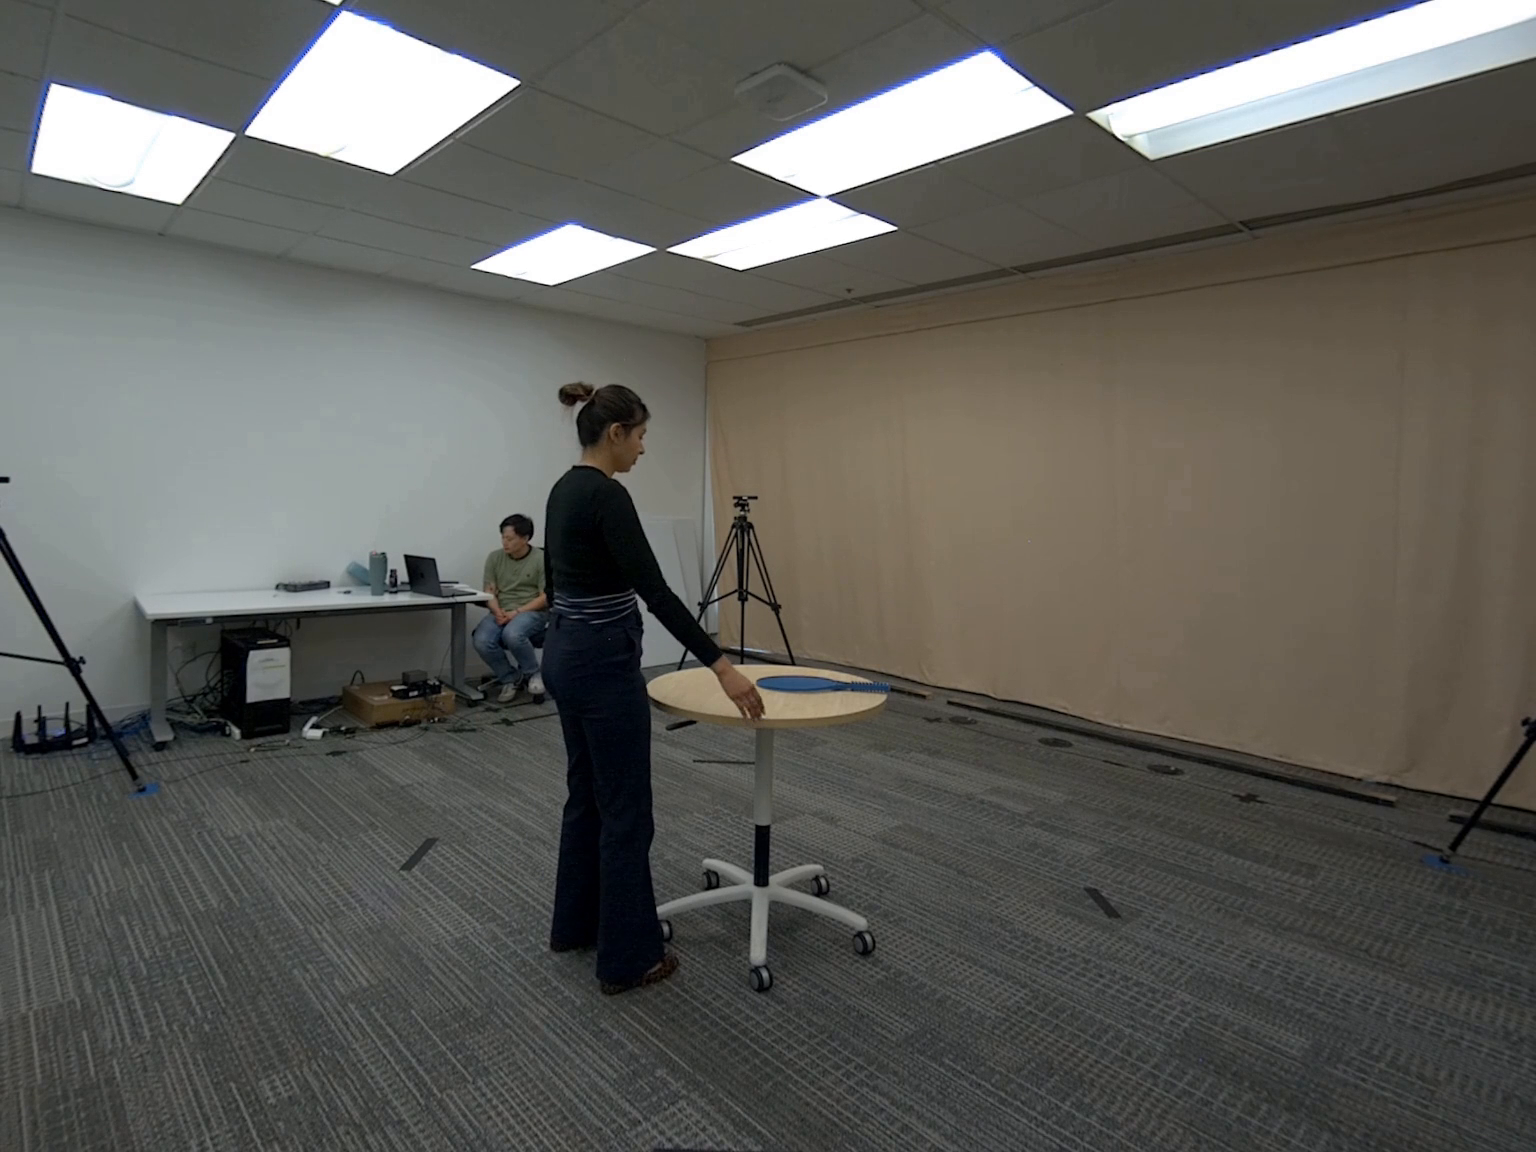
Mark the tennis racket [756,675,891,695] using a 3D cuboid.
[{"bbox_3d":[0.174,0.351,2.707,0.439,0.031,0.211,1,6,19],"label":"tennis racket"}]
